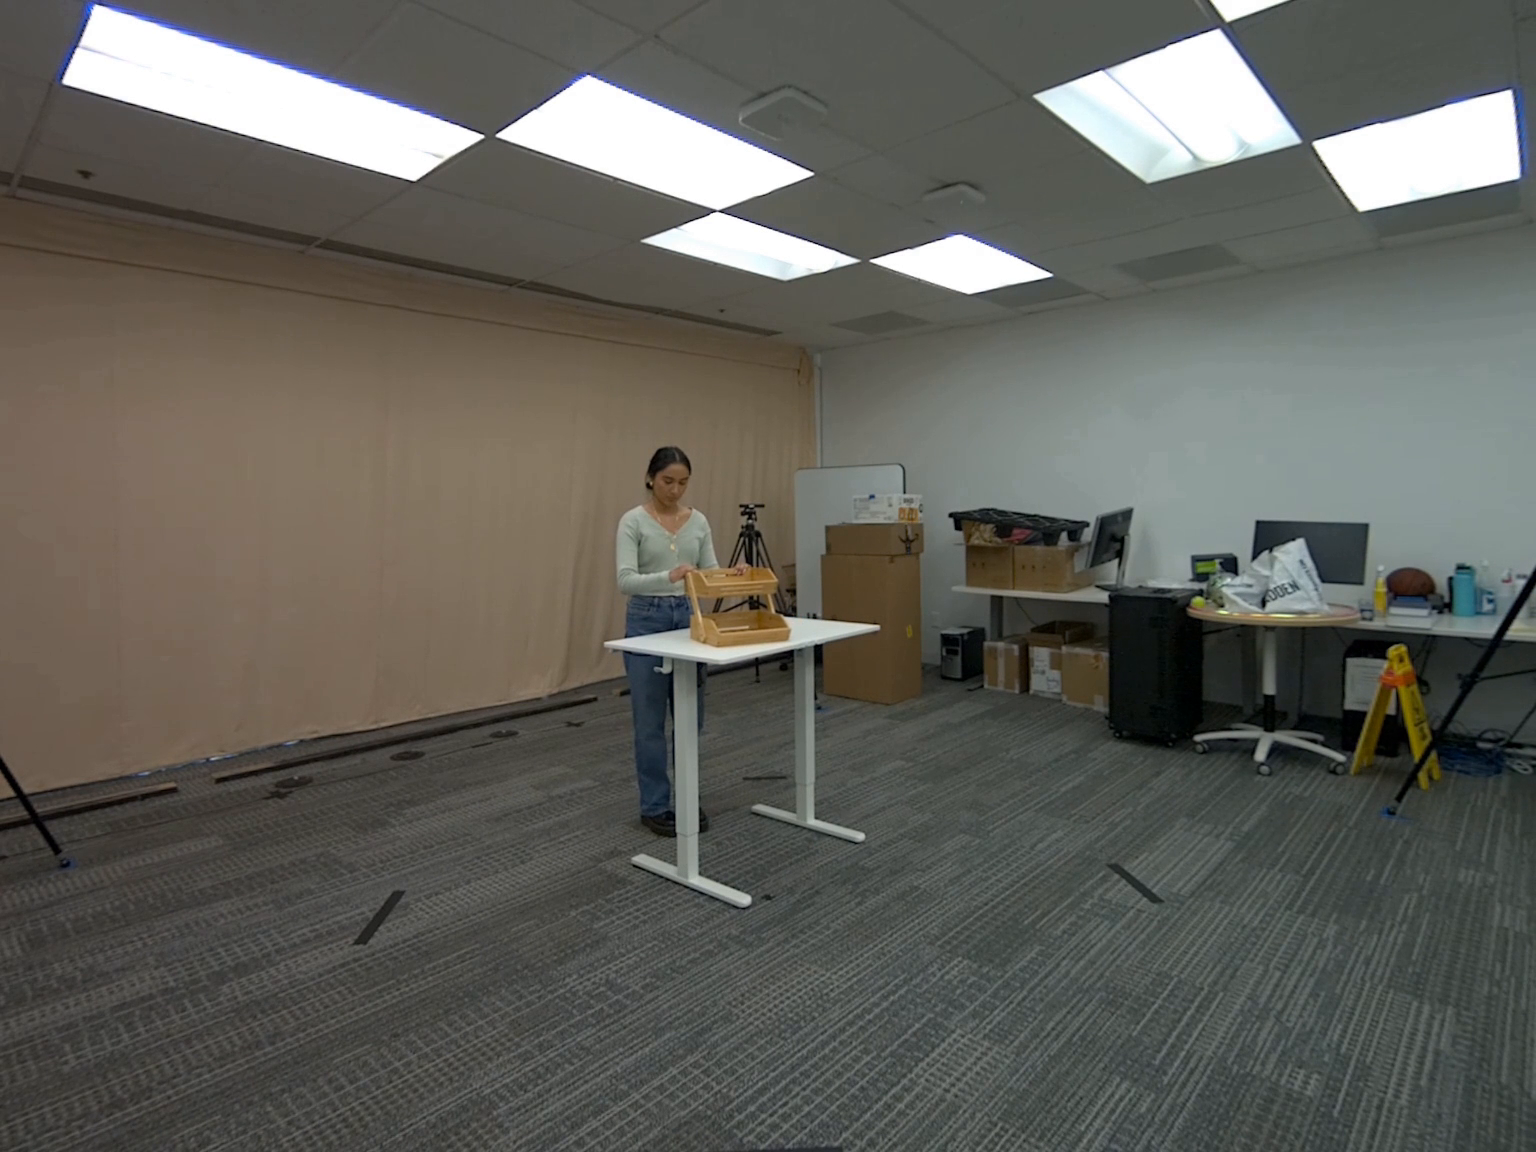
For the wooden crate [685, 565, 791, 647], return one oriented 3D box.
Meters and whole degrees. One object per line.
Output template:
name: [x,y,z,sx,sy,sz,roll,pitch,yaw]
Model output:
wooden crate: [-0.118,0.107,3.196,0.316,0.273,0.310,-2,3,-28]
